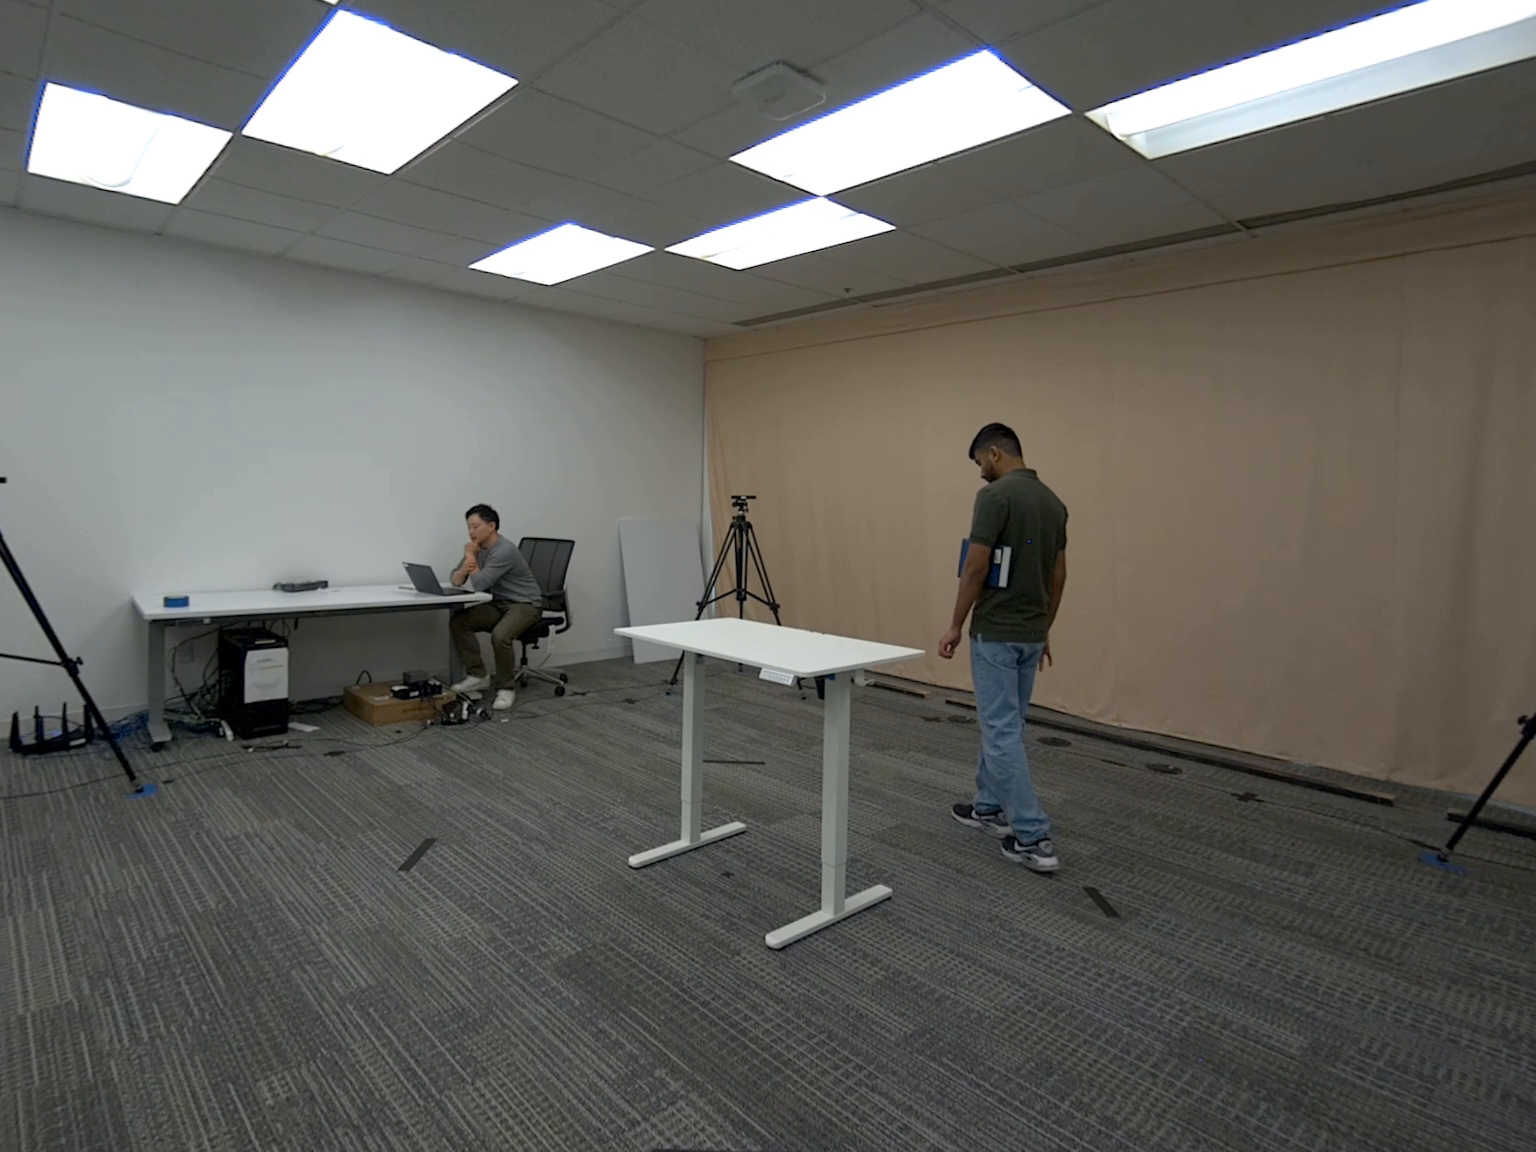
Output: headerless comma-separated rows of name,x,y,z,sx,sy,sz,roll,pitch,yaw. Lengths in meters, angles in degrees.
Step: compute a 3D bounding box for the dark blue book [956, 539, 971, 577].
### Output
dark blue book,0.866,-0.046,3.321,0.044,0.162,0.250,-1,8,-23
